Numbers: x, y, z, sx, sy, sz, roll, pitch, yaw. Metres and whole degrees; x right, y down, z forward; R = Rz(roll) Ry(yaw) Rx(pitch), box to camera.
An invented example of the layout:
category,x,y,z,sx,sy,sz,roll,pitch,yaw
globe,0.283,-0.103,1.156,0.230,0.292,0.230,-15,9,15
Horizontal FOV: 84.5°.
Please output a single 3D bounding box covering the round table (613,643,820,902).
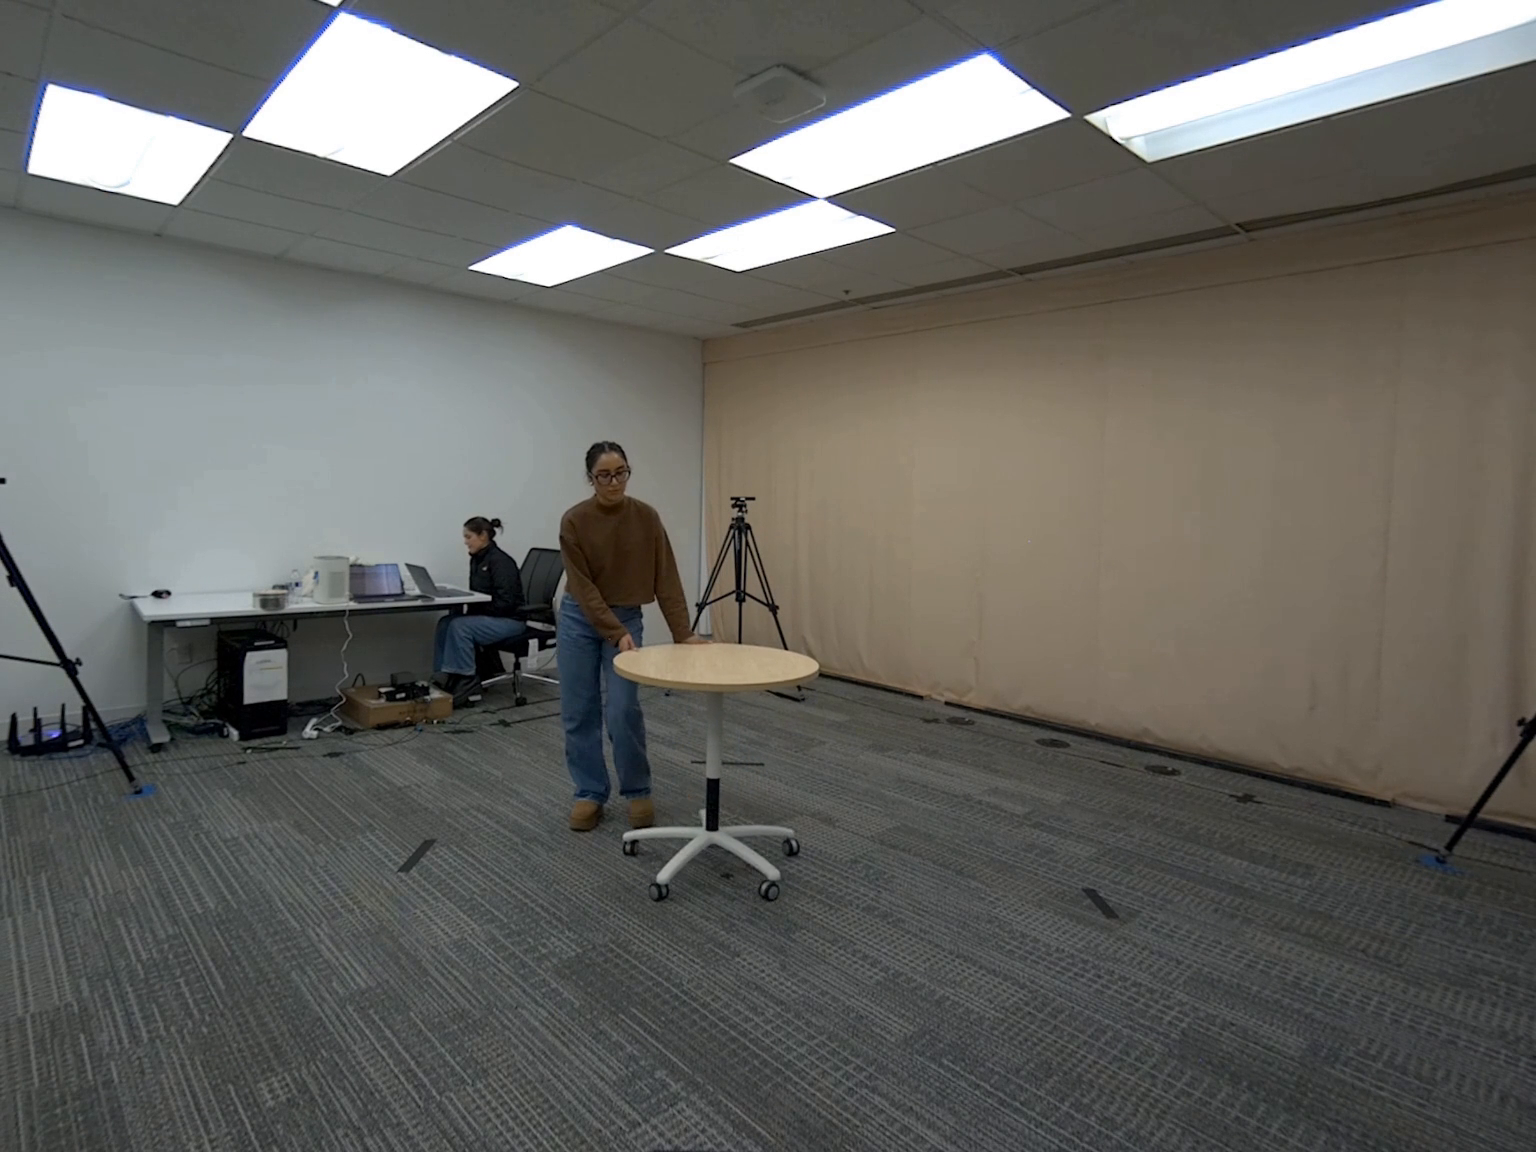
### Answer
category,x,y,z,sx,sy,sz,roll,pitch,yaw
round table,-0.193,0.706,3.165,0.784,0.784,0.788,1,4,-1
